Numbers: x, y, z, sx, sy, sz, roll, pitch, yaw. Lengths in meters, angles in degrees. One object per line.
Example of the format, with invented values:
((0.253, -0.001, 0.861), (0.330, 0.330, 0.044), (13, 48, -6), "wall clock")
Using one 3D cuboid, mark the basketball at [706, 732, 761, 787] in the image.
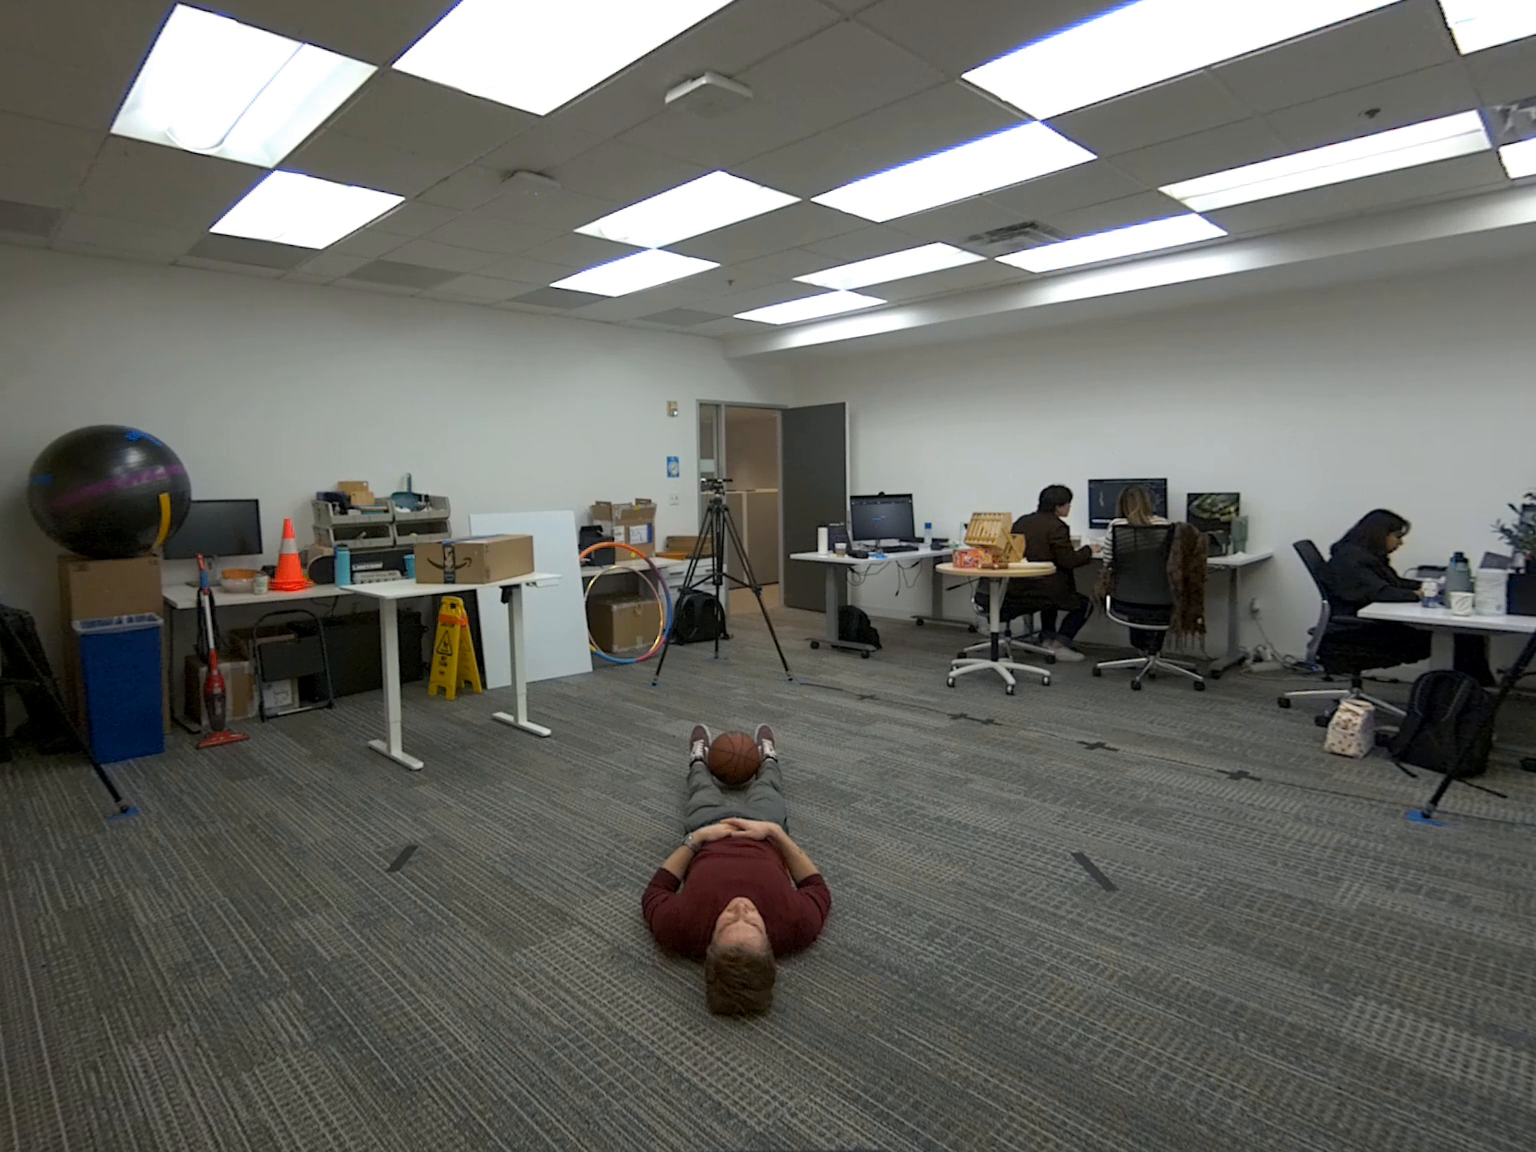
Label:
((-0.152, 0.824, 3.881), (0.236, 0.236, 0.236), (0, 1, -2), "basketball")
